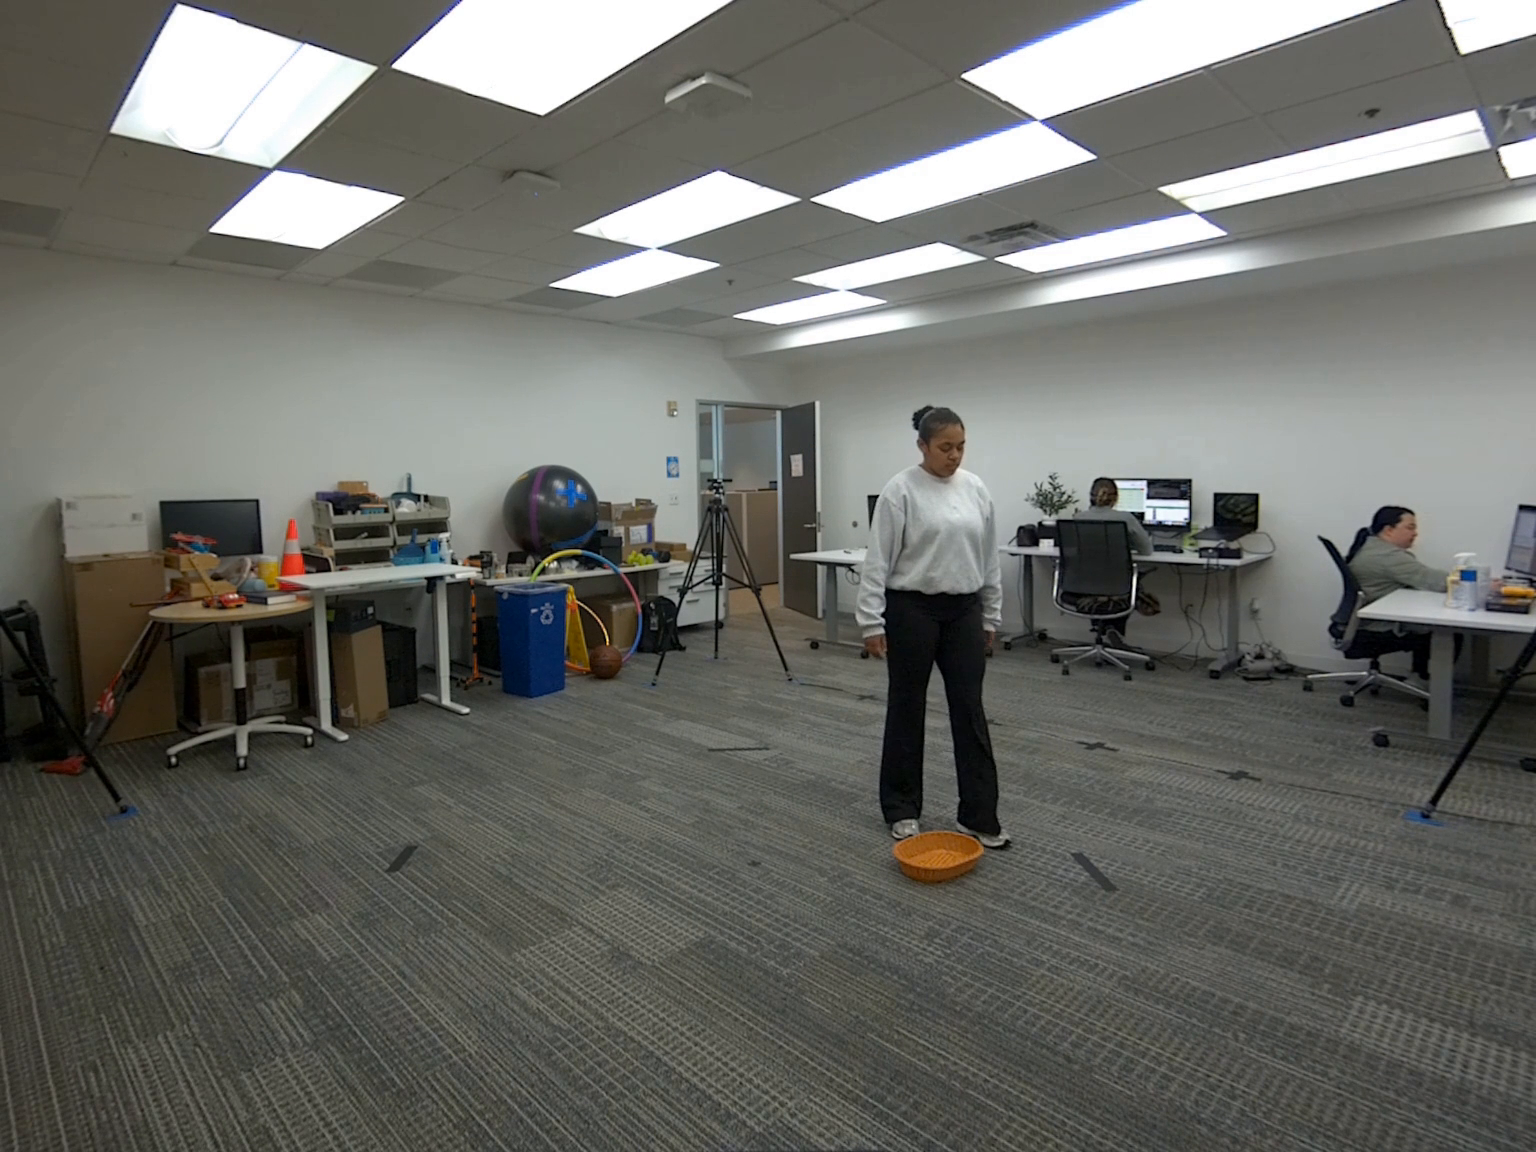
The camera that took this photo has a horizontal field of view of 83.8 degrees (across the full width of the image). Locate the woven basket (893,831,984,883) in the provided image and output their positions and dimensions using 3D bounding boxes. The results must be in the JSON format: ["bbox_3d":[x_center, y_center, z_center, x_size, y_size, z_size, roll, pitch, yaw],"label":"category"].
[{"bbox_3d":[0.608,1.004,3.042,0.342,0.073,0.260,-5,7,-33],"label":"woven basket"}]
